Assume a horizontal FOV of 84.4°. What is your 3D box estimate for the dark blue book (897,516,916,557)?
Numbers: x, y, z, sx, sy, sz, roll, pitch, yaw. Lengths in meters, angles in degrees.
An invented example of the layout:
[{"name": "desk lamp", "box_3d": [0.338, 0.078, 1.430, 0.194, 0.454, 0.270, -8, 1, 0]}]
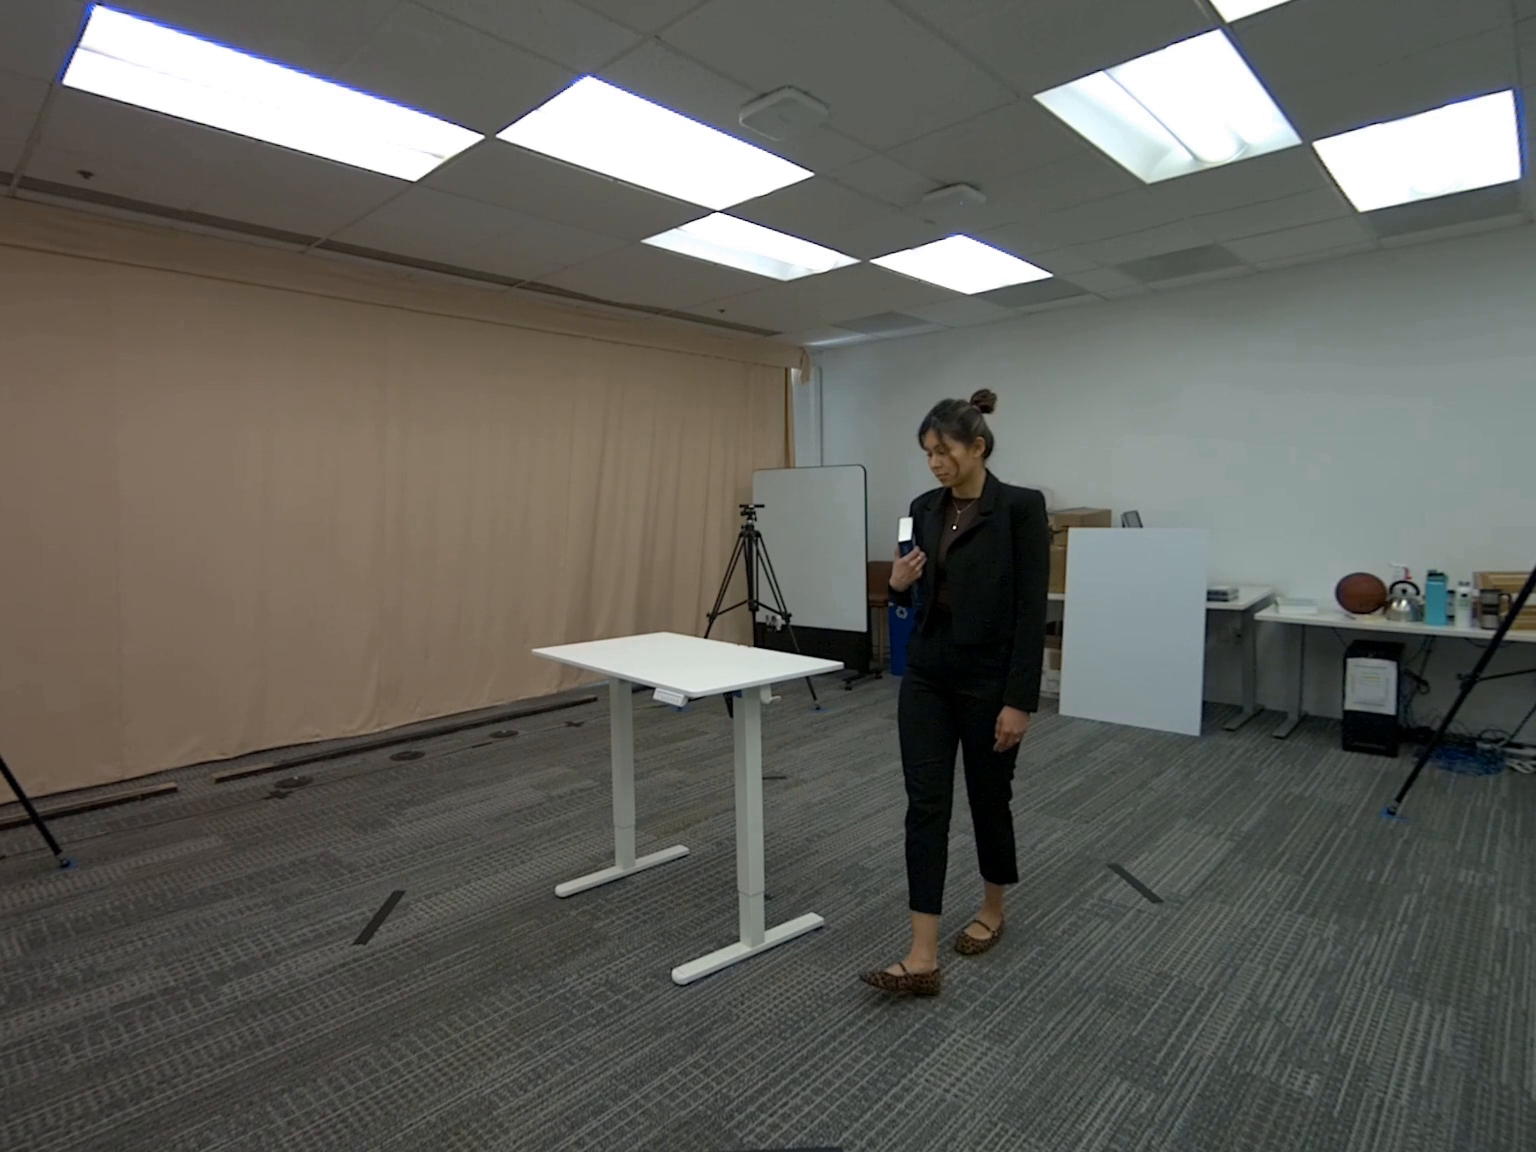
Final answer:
[{"name": "dark blue book", "box_3d": [0.439, -0.036, 2.587, 0.046, 0.240, 0.164, -9, 26, 17]}]
